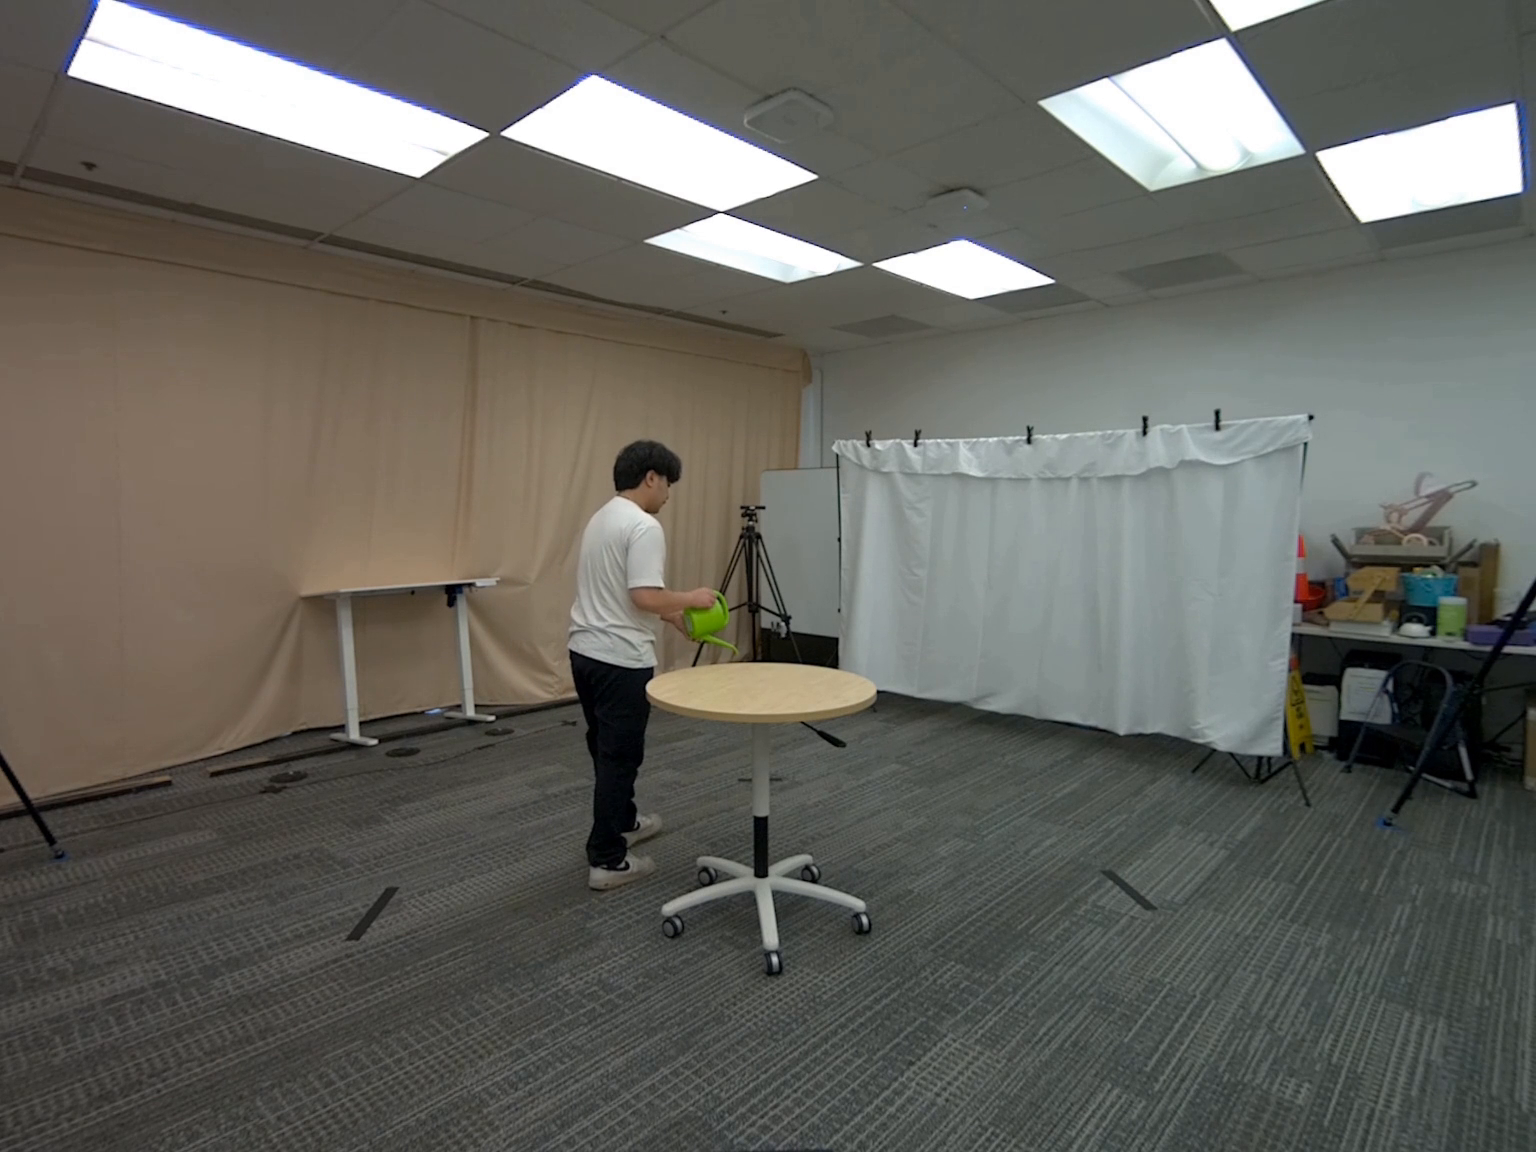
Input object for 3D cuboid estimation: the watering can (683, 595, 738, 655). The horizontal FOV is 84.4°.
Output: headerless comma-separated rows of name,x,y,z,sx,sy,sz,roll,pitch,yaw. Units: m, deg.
watering can,-0.217,0.202,3.295,0.174,0.279,0.099,-17,-4,-23
